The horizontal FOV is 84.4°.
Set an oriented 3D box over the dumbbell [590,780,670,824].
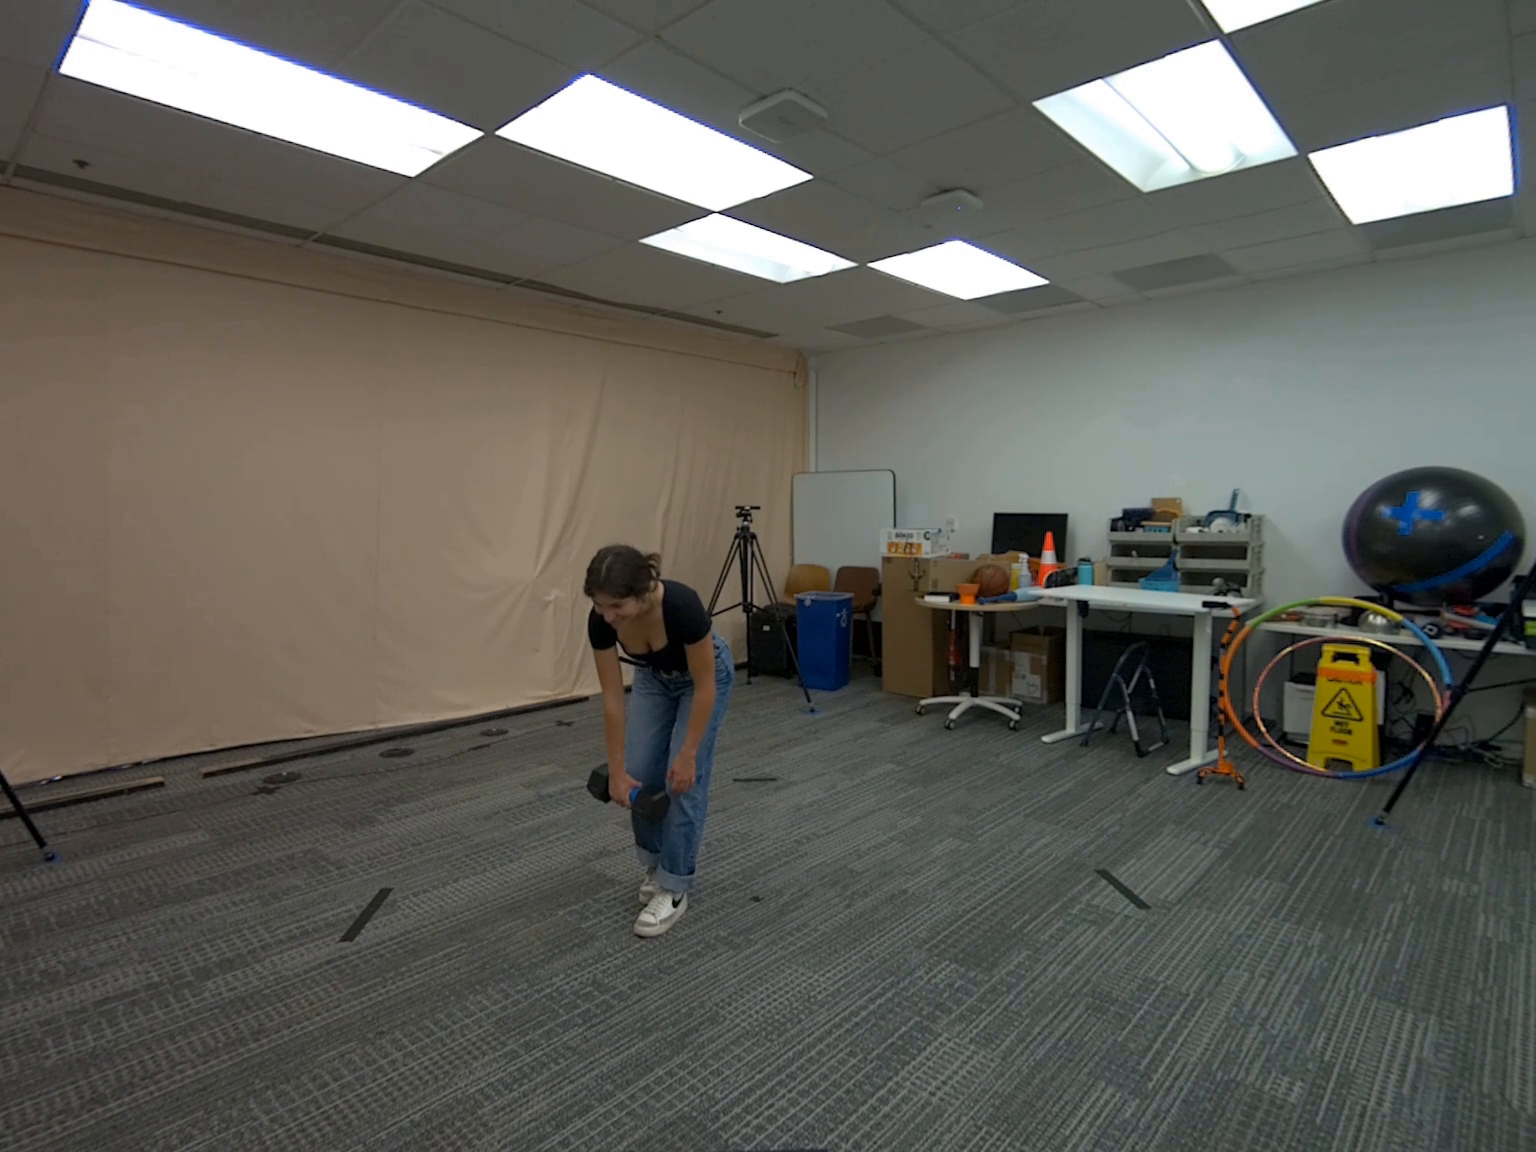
[{"bbox_3d":[-0.461,0.721,2.796,0.303,0.119,0.108,11,49,34],"label":"dumbbell"}]
